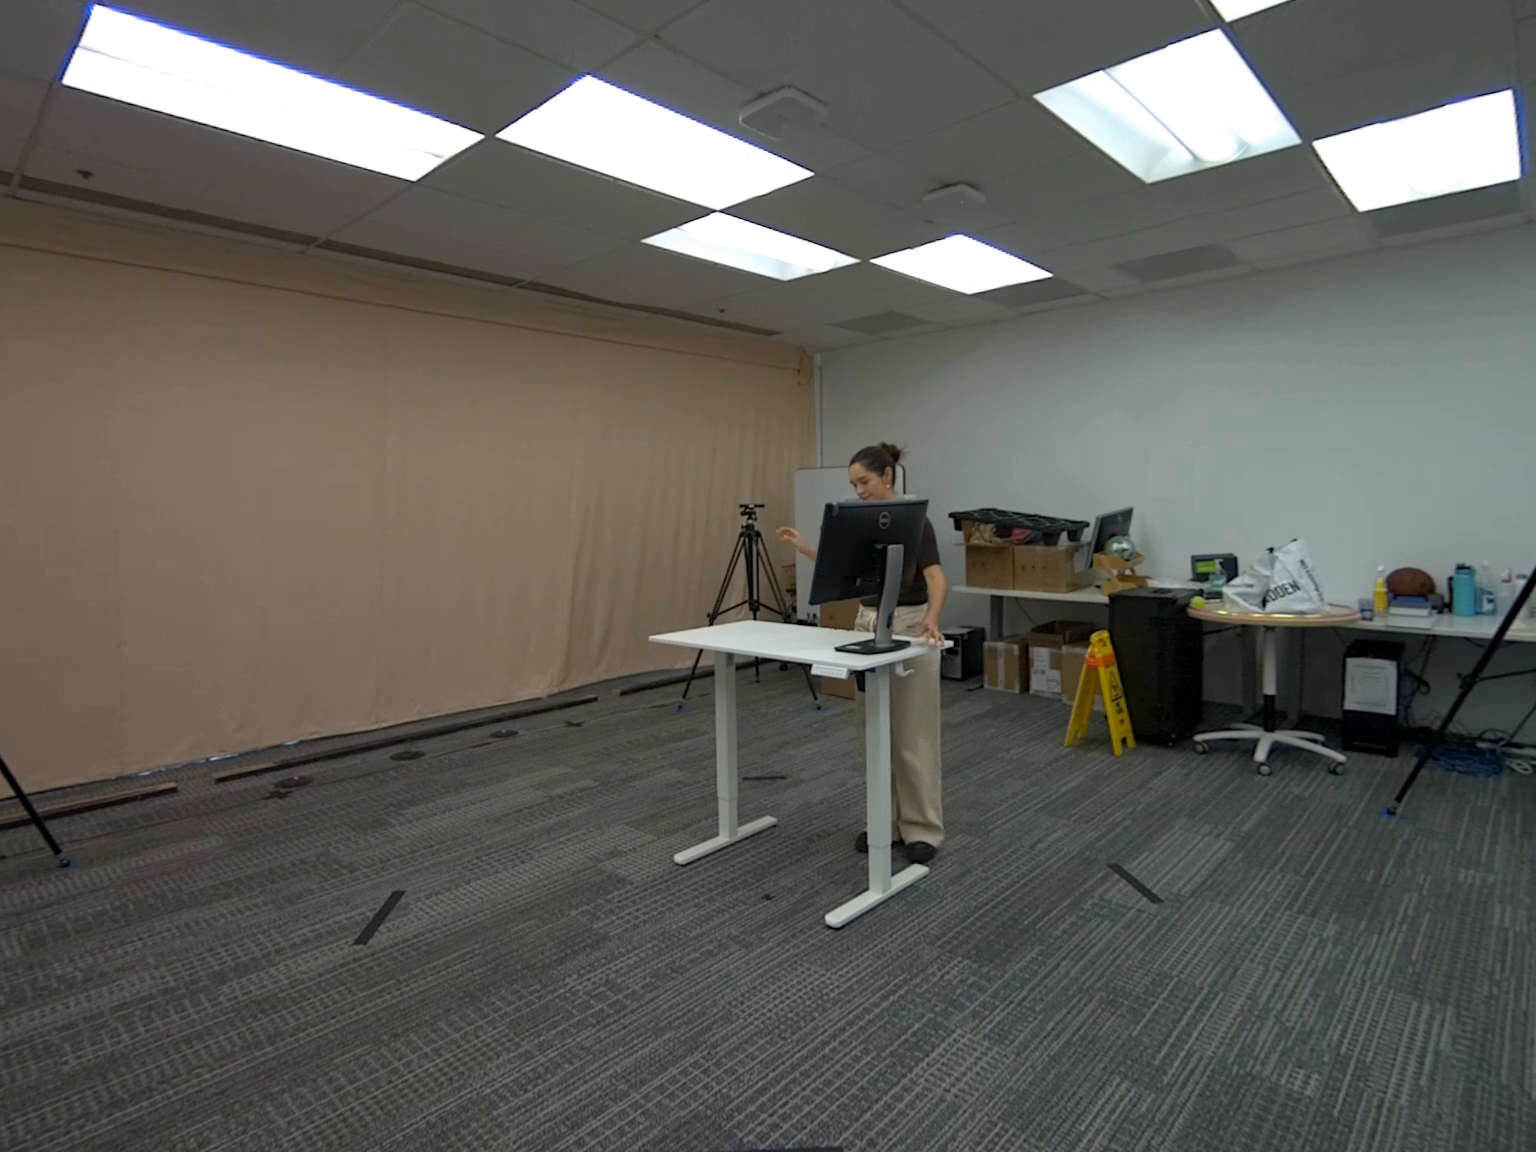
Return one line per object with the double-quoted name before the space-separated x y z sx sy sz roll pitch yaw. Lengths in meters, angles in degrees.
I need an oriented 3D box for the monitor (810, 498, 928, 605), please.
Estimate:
"monitor" 0.405 0.004 2.908 0.523 0.521 0.193 -4 7 -39
